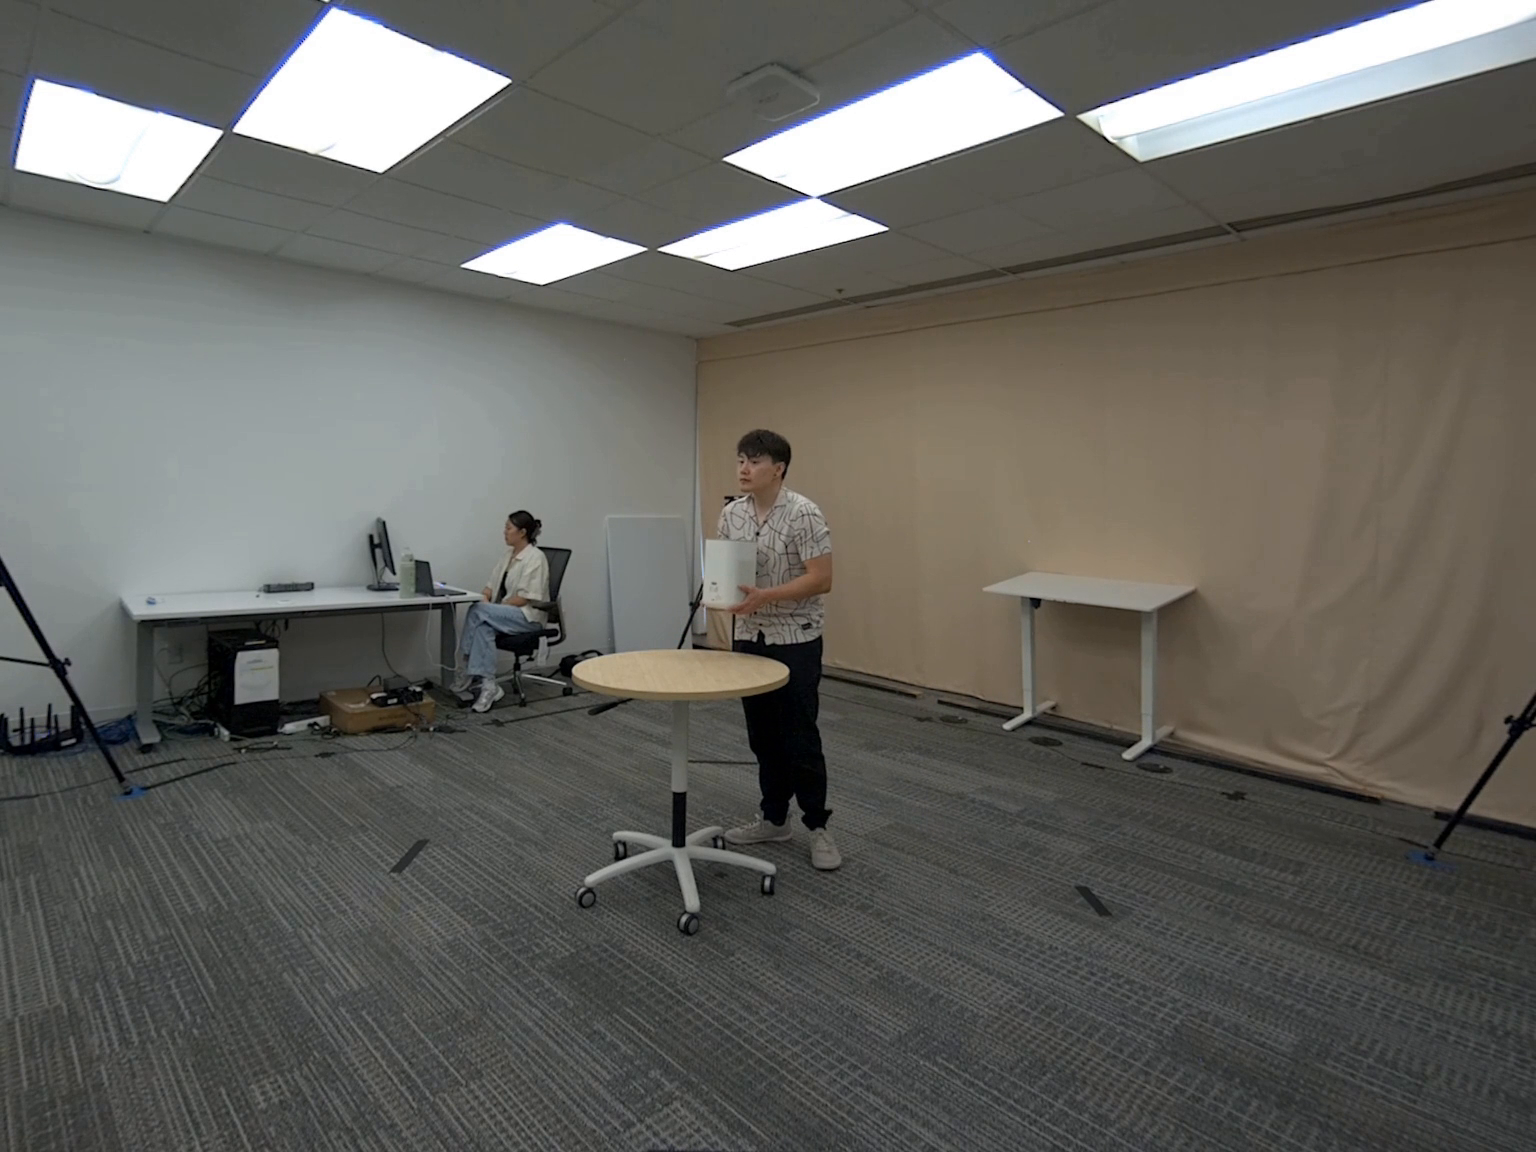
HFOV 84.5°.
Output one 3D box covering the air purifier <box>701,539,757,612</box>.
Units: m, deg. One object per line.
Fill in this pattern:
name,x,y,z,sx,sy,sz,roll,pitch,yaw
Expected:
air purifier,-0.157,-0.005,3.229,0.175,0.265,0.167,3,-1,40
